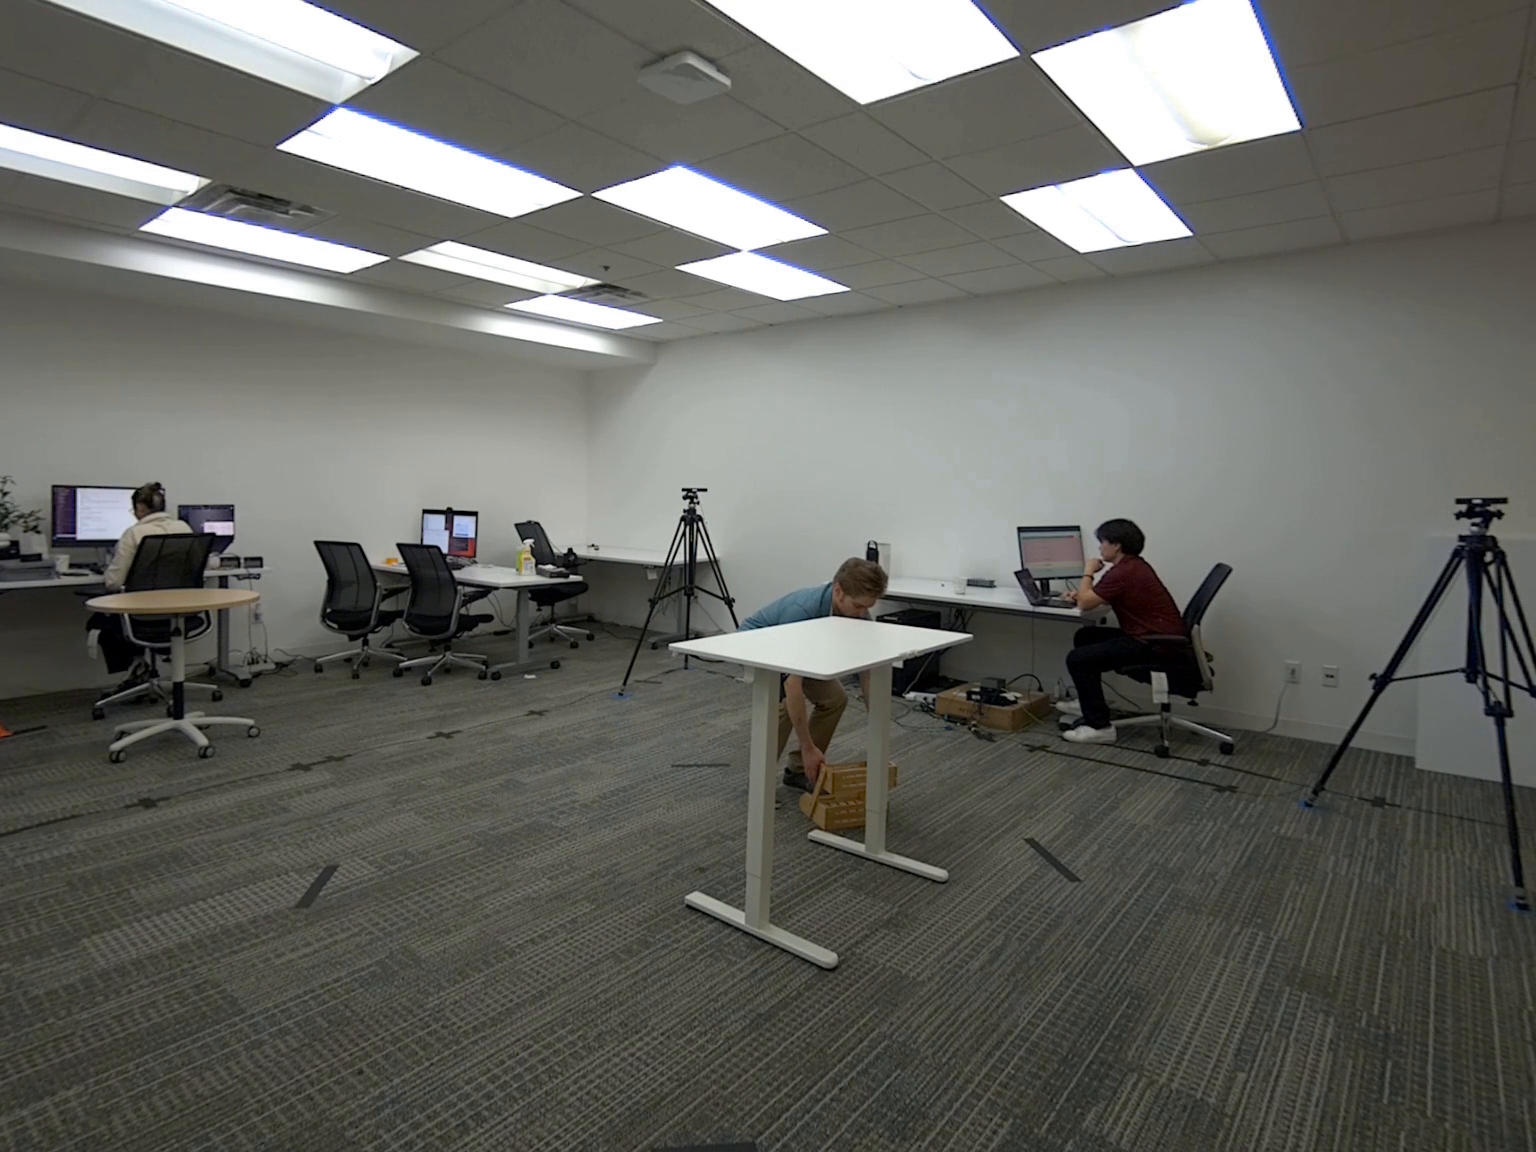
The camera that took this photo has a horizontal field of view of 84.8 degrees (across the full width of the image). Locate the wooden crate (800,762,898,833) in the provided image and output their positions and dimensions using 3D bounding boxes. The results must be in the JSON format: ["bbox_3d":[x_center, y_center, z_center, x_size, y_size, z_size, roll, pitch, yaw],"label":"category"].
[{"bbox_3d":[0.326,0.892,3.635,0.317,0.272,0.310,0,5,-22],"label":"wooden crate"}]
